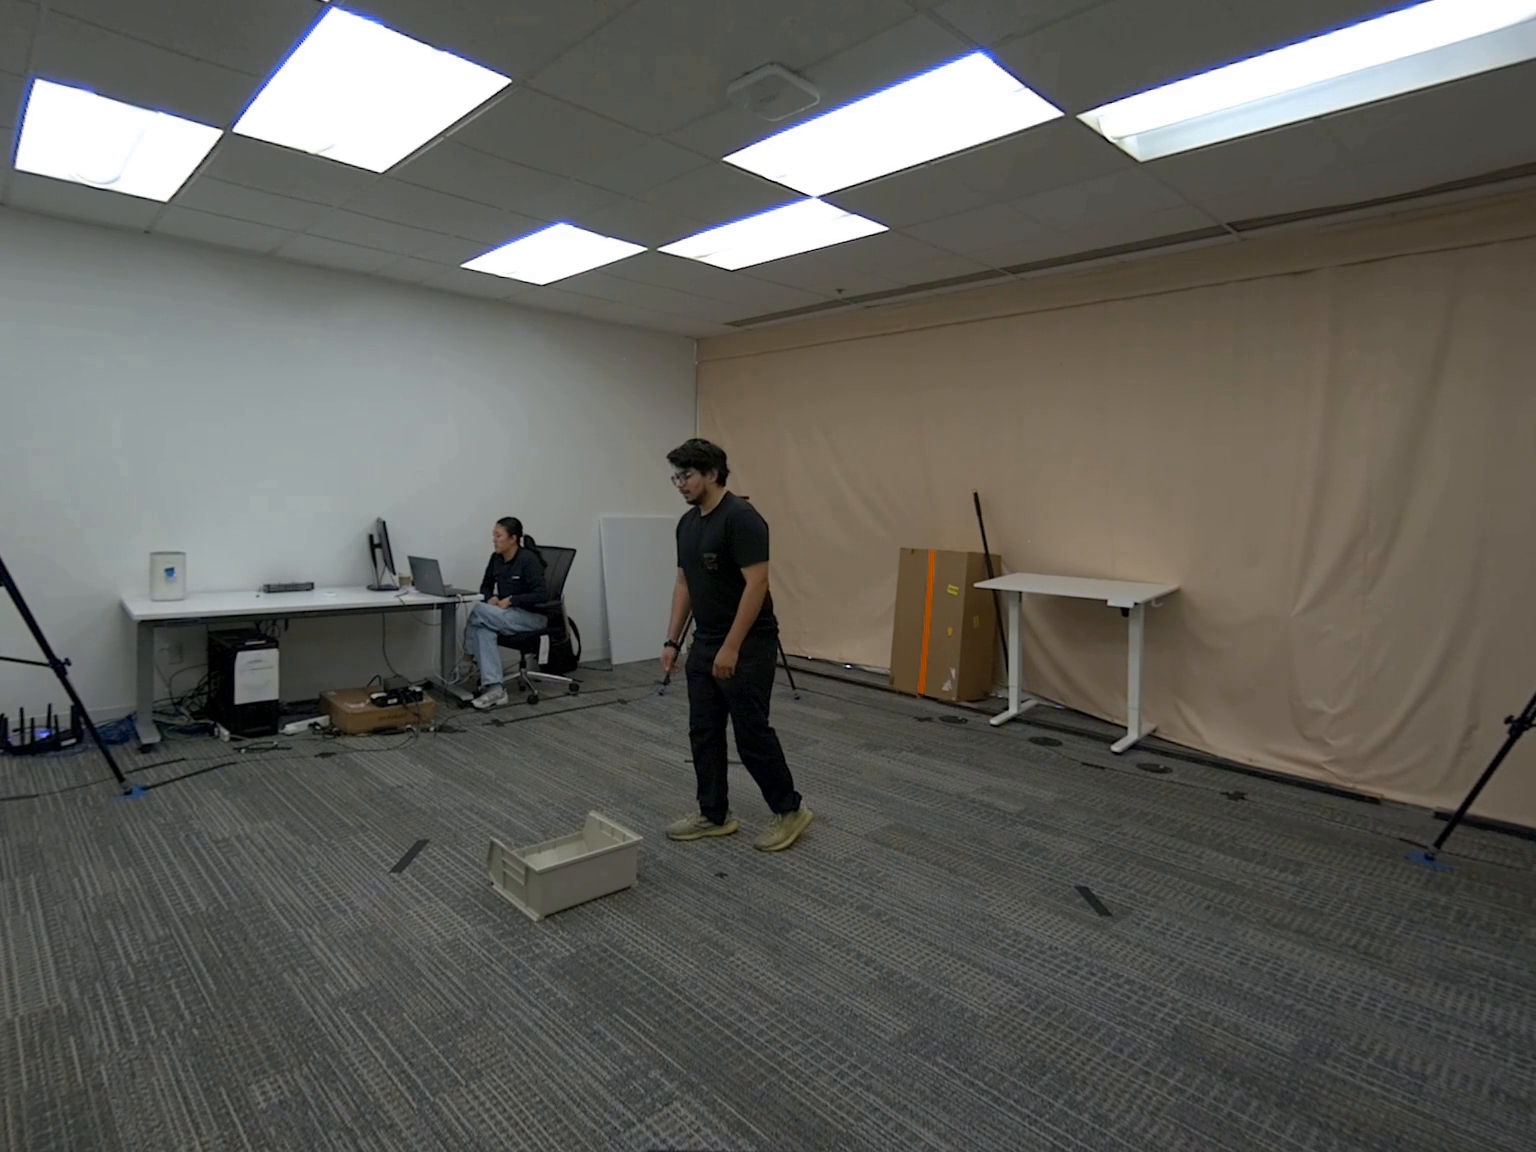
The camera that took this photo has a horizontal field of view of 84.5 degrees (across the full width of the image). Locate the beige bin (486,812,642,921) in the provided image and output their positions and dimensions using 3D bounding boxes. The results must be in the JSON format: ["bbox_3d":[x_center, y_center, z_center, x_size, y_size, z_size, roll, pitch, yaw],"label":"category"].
[{"bbox_3d":[-0.734,1.016,2.991,0.413,0.188,0.387,-3,7,-43],"label":"beige bin"}]
